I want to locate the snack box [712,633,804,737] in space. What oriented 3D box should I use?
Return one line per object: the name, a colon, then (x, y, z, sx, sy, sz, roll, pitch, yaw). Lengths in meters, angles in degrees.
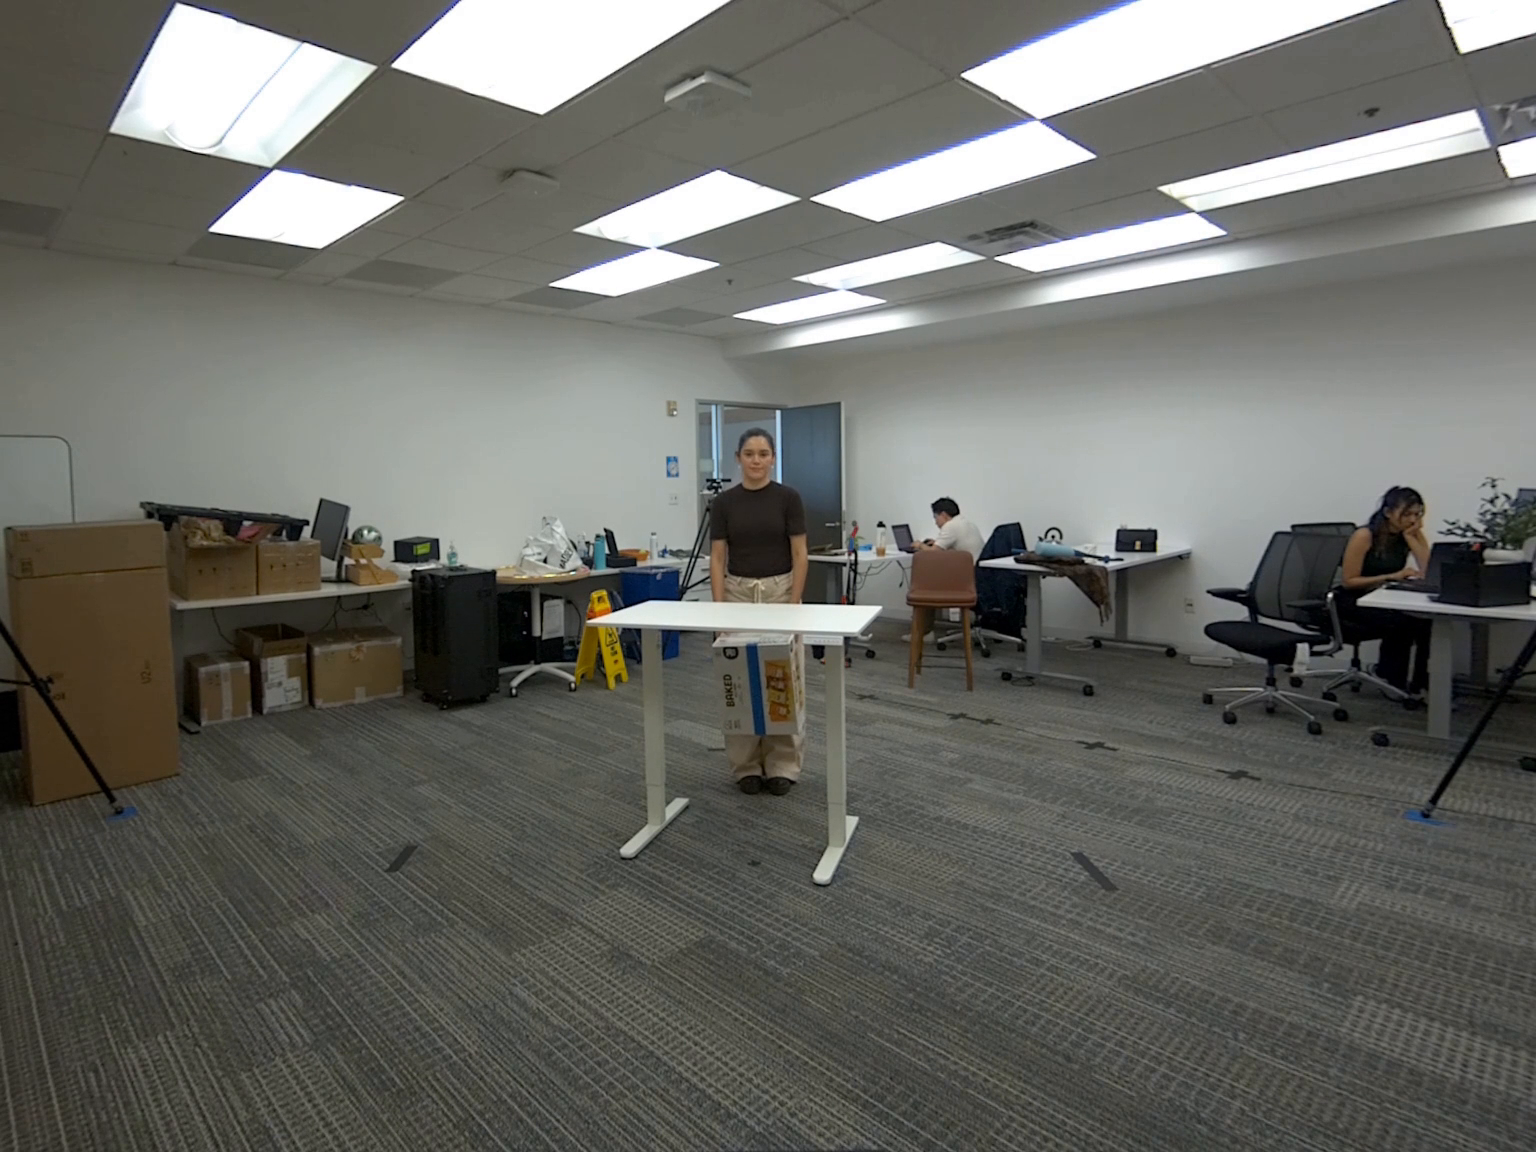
snack box: (-0.042, 0.468, 3.740, 0.345, 0.401, 0.205, -3, 11, 13)
